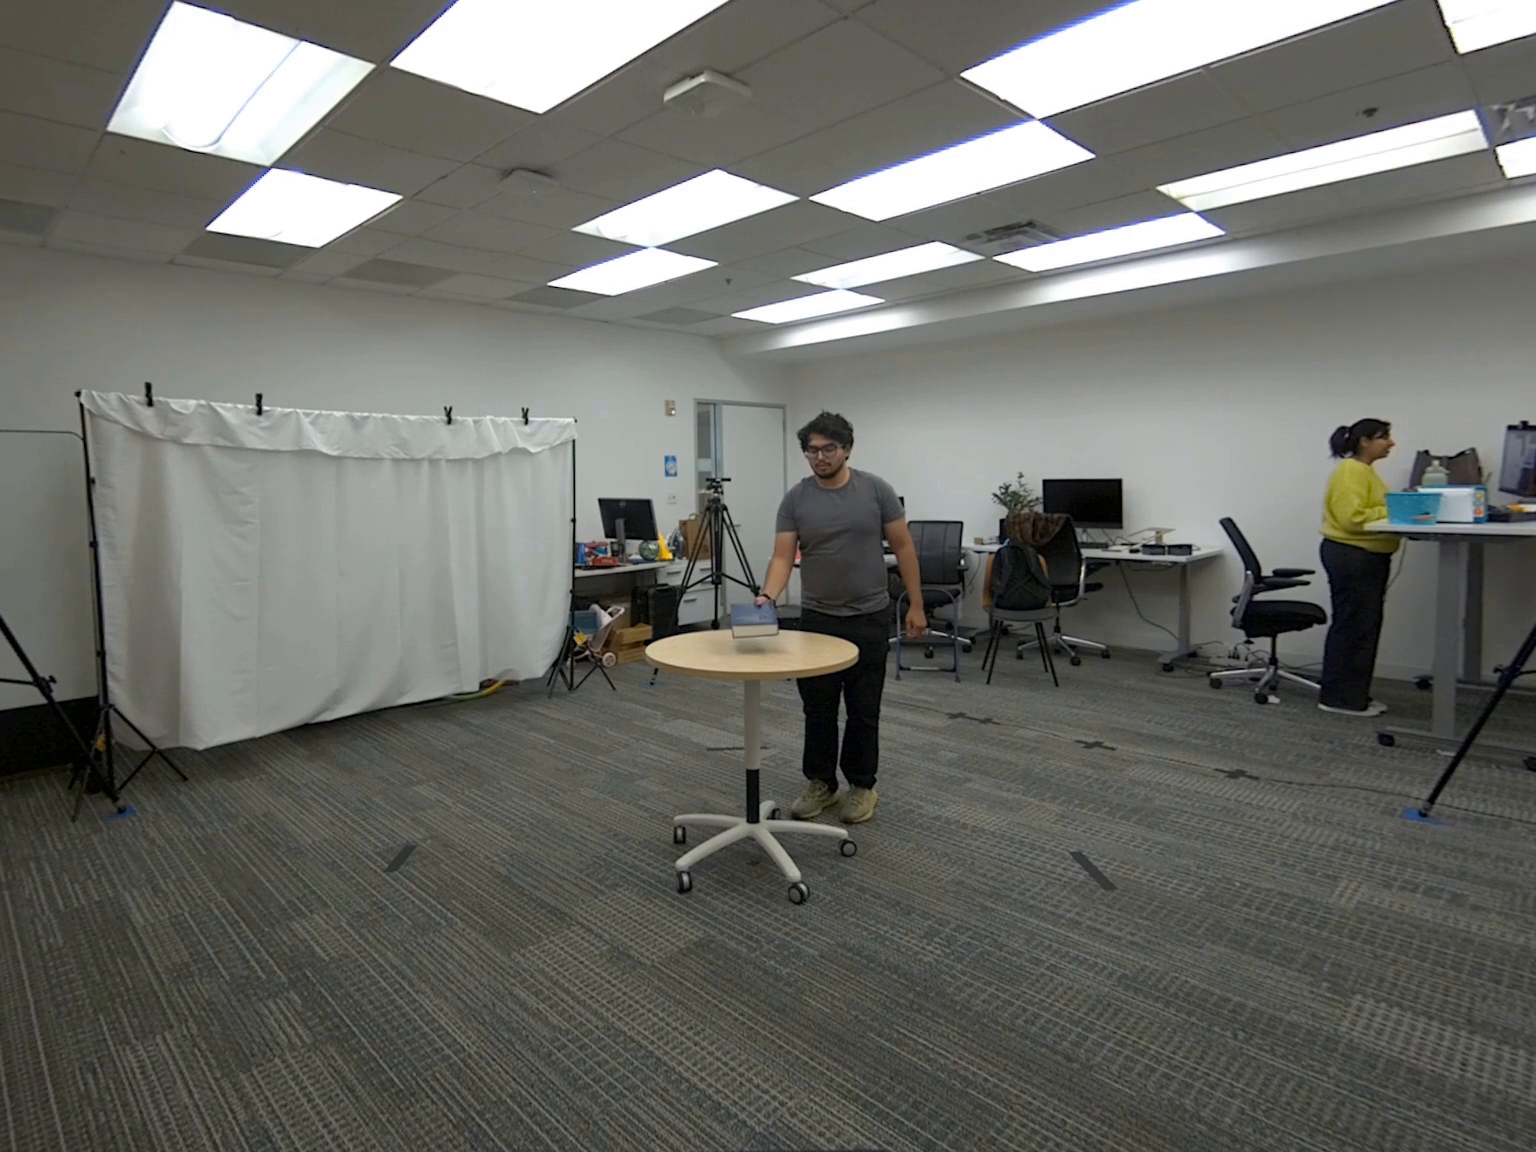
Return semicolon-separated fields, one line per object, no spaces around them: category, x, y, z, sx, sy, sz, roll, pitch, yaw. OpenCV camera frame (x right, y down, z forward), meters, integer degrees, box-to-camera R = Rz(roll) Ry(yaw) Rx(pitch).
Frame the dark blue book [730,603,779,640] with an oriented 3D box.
dark blue book;-0.048;0.157;3.086;0.164;0.044;0.248;-1;15;1
